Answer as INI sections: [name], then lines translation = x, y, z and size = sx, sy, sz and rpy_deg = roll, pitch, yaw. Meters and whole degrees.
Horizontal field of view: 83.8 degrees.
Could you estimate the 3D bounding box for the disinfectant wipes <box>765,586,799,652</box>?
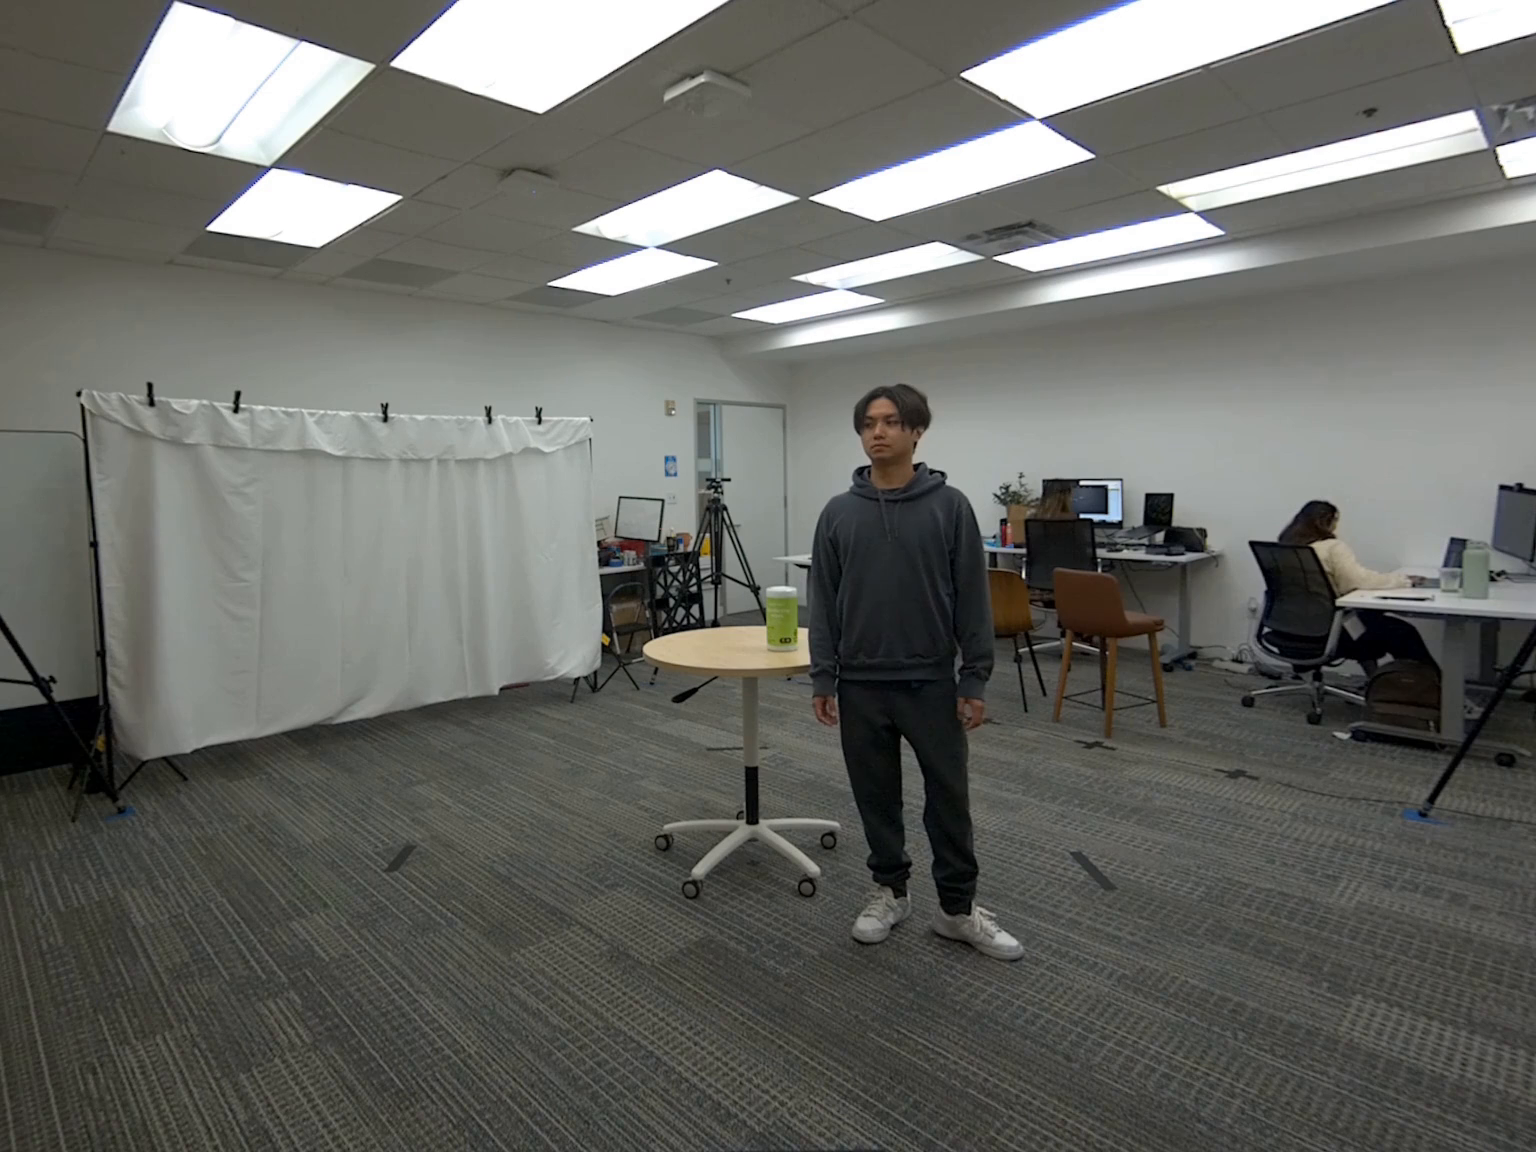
[disinfectant wipes]
translation = 0.050, 0.152, 2.992
size = 0.118, 0.216, 0.118
rpy_deg = 0, 5, -2
